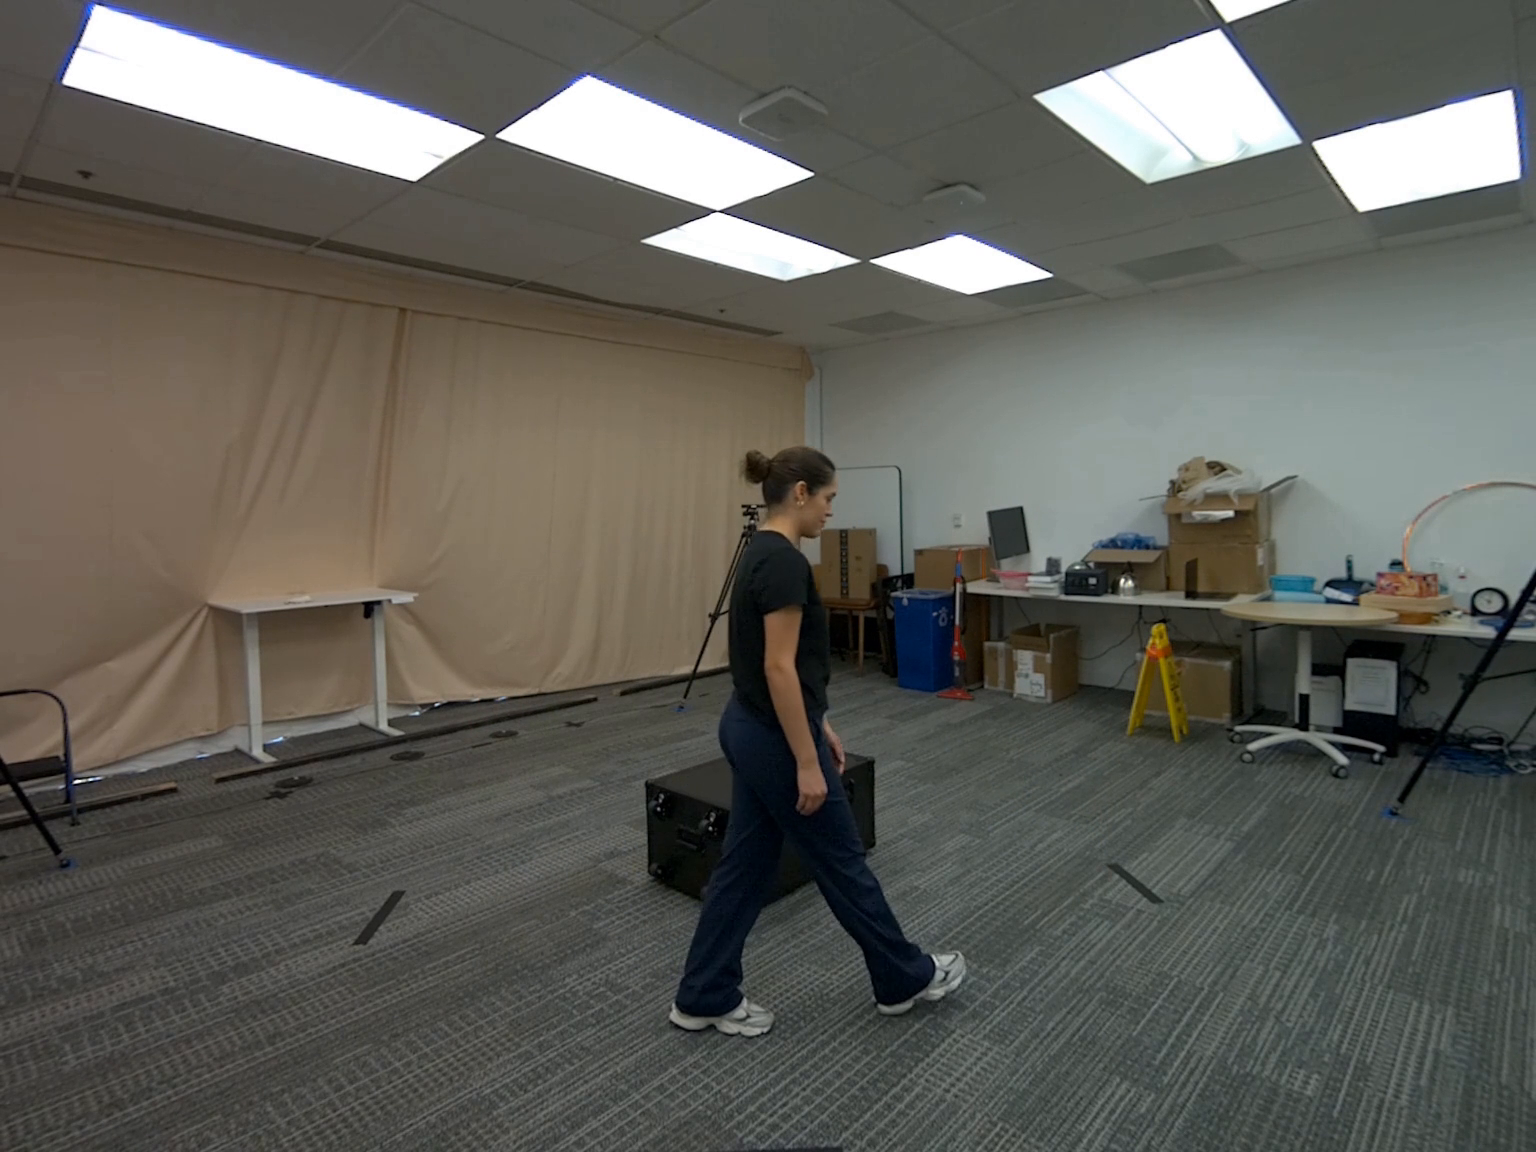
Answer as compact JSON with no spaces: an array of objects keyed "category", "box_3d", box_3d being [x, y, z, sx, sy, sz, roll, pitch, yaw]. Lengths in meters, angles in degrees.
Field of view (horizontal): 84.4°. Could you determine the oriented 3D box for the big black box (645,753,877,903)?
[{"category":"big black box","box_3d":[-0.020,0.930,3.215,0.538,0.395,0.835,2,5,43]}]
